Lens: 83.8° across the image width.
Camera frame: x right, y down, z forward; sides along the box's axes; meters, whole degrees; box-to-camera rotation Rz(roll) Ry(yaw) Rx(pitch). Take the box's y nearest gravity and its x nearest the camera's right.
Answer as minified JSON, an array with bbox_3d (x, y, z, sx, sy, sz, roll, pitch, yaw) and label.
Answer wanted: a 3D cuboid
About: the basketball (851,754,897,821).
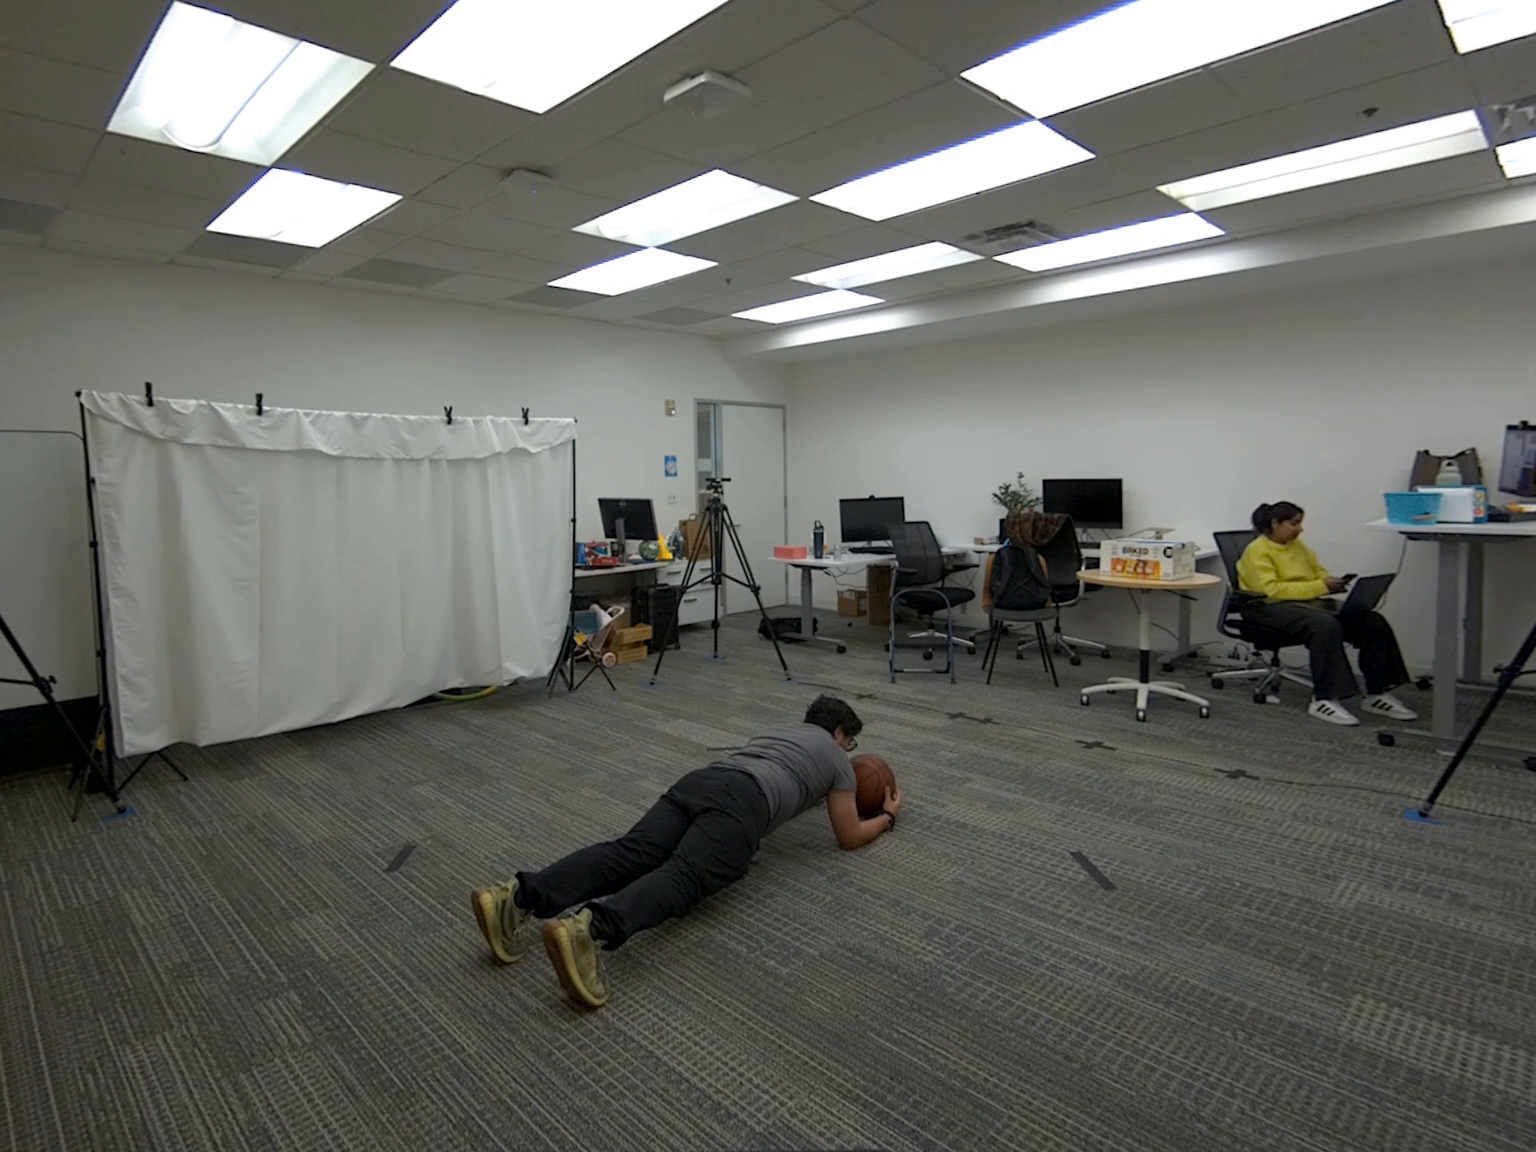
[{"bbox_3d":[0.403,0.864,3.554,0.236,0.235,0.237,-1,5,-2],"label":"basketball"}]
